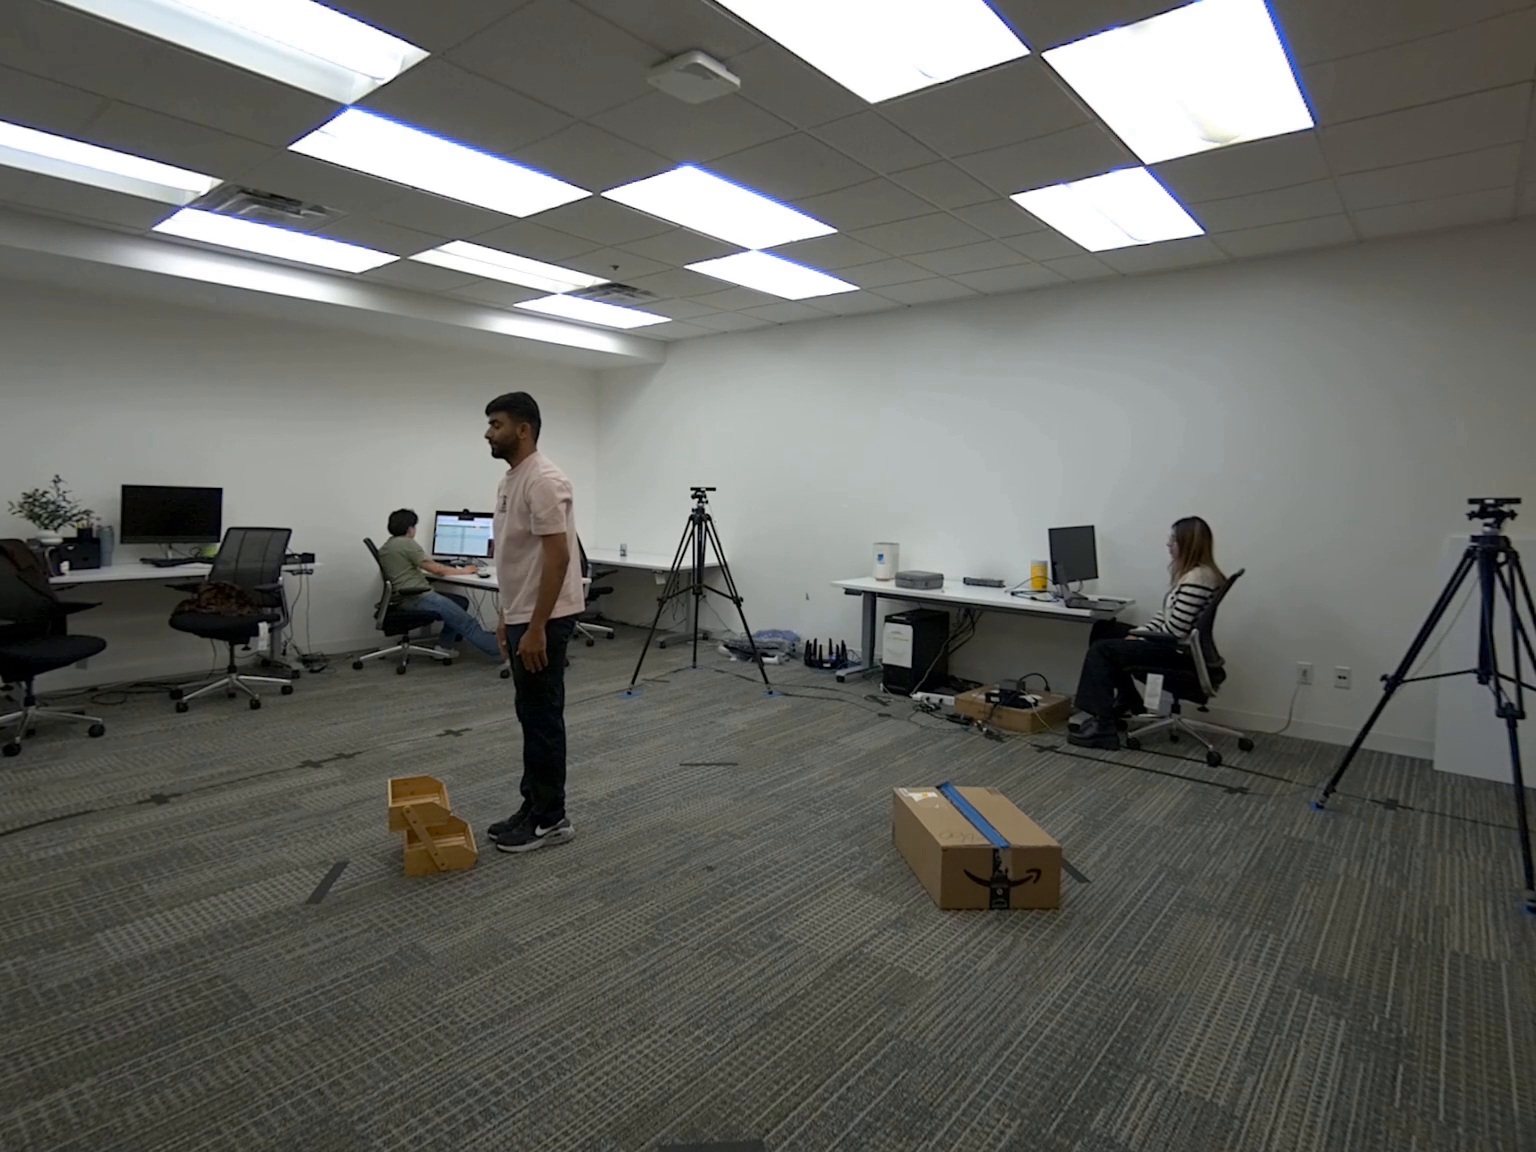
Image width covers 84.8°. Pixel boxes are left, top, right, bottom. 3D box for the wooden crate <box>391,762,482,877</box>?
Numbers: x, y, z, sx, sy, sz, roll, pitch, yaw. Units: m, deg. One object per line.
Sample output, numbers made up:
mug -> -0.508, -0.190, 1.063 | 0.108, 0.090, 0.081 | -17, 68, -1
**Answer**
wooden crate -> -1.255, 0.902, 3.168 | 0.295, 0.272, 0.333 | -2, 5, -23
